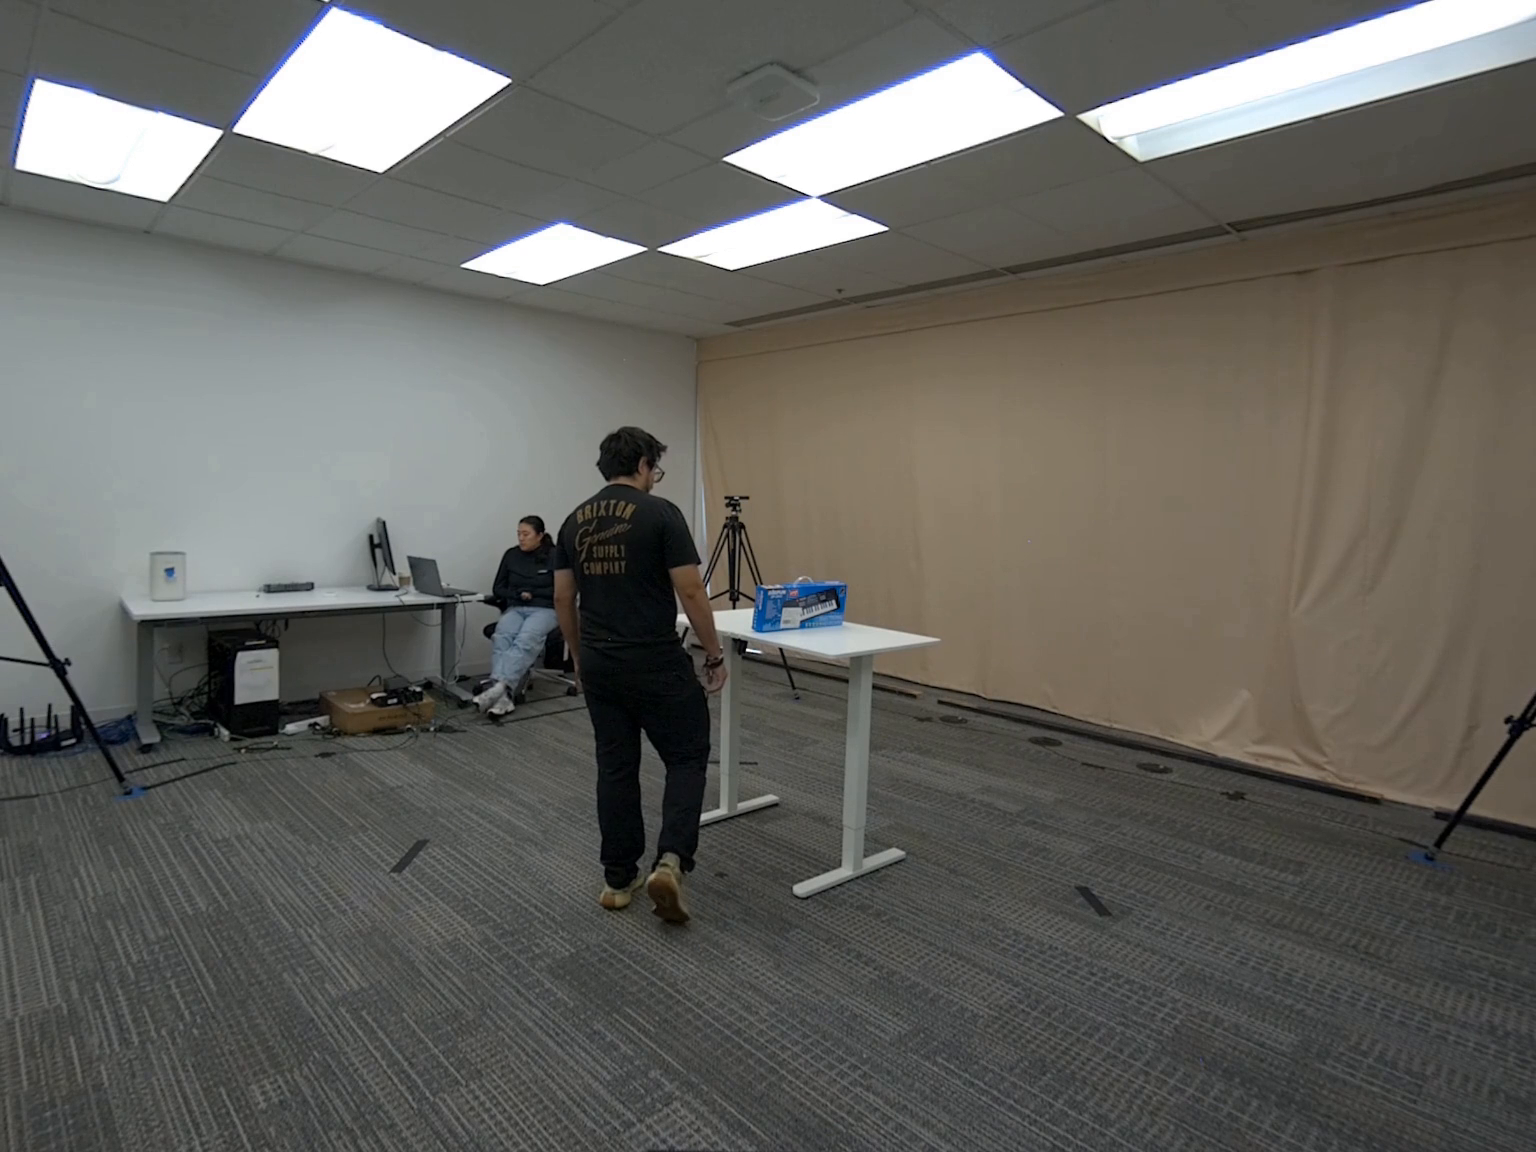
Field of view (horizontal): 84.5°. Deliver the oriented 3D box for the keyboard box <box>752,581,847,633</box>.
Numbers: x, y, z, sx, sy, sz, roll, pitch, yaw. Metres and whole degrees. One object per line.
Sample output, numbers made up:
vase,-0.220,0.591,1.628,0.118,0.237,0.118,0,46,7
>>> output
keyboard box,0.126,0.122,3.326,0.427,0.175,0.061,-2,12,-39
